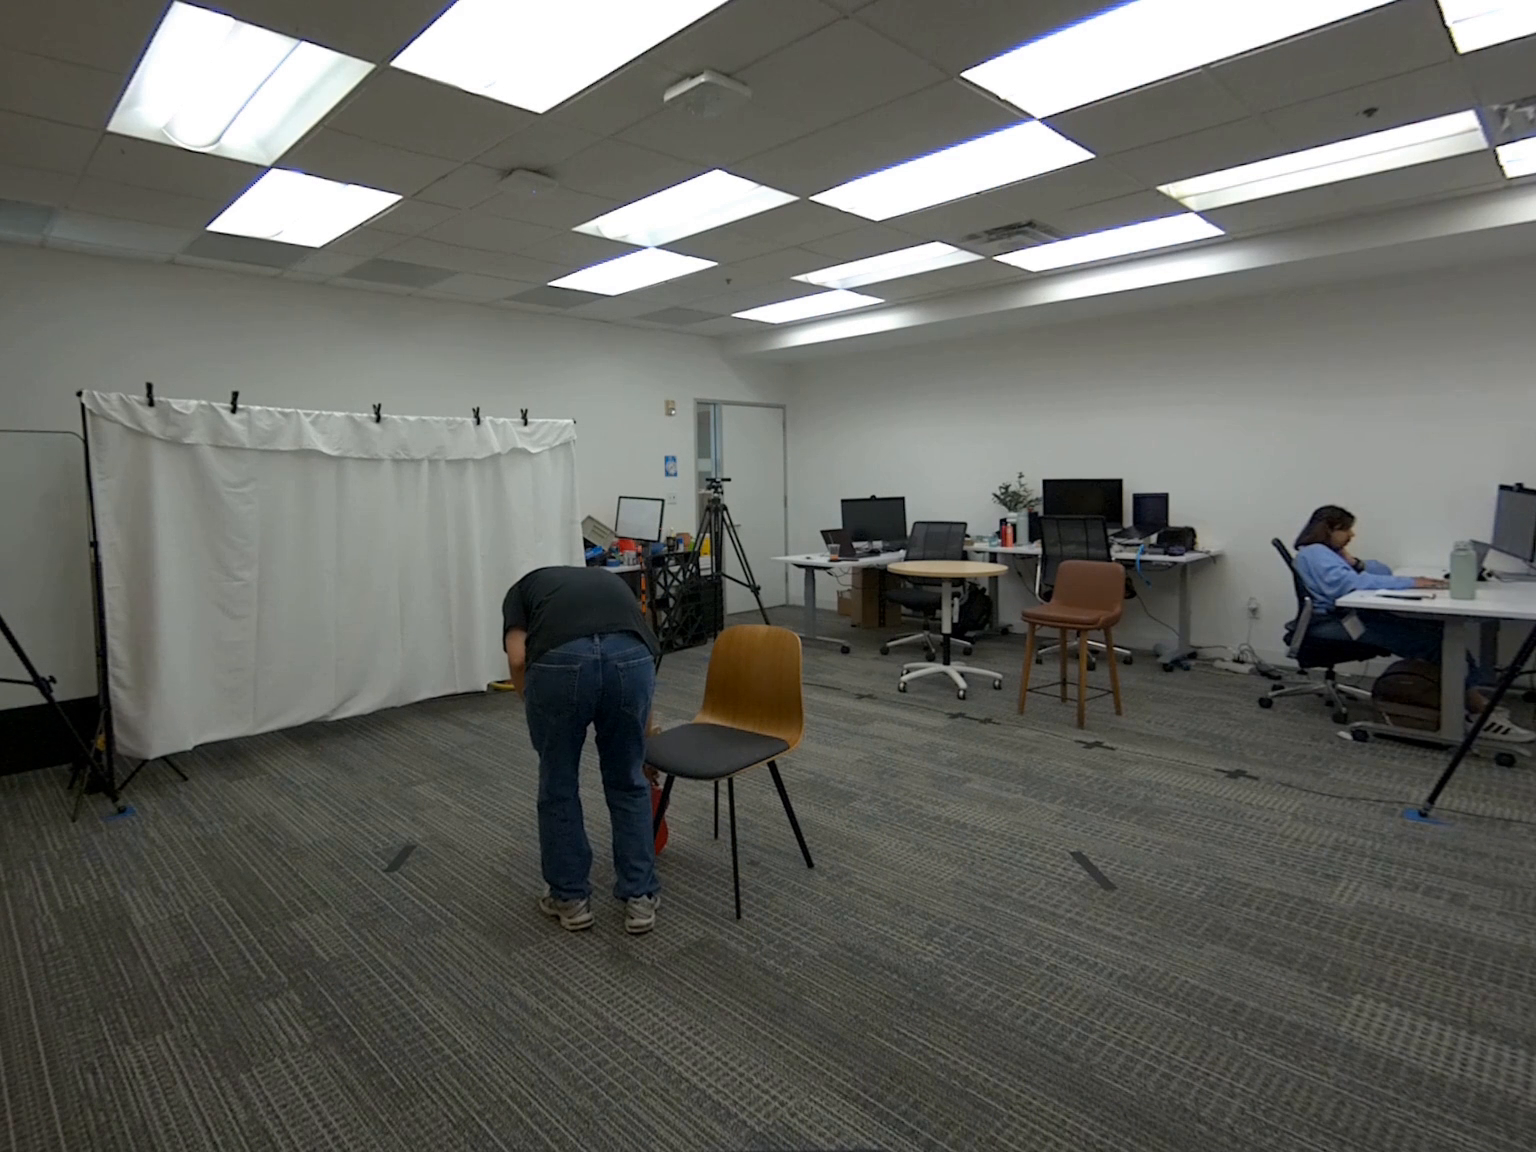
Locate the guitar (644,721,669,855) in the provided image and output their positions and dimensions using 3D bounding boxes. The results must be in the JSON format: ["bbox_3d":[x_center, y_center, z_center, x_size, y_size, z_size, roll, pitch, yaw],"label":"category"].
[{"bbox_3d":[-0.440,0.803,3.107,0.073,0.491,0.189,18,21,38],"label":"guitar"}]
